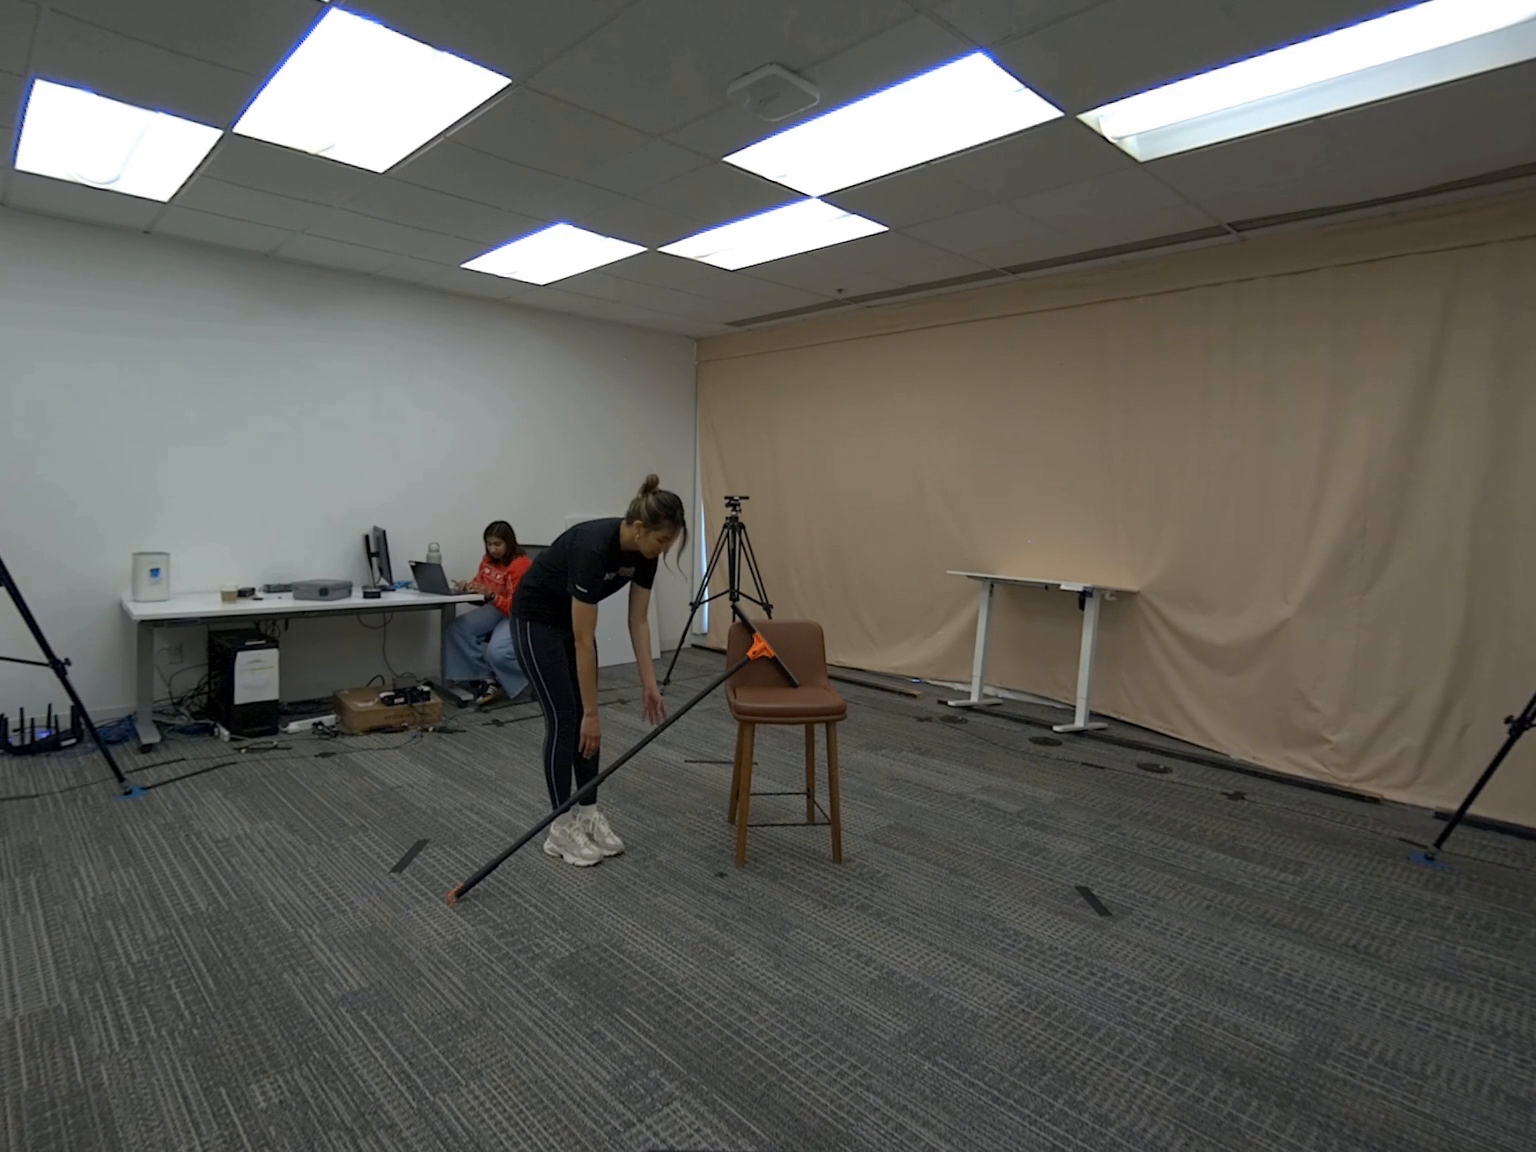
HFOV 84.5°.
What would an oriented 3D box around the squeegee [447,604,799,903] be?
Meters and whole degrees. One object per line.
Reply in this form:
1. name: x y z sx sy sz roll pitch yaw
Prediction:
1. squeegee: -0.526 0.674 3.178 1.530 0.438 0.053 -38 -1 -28
